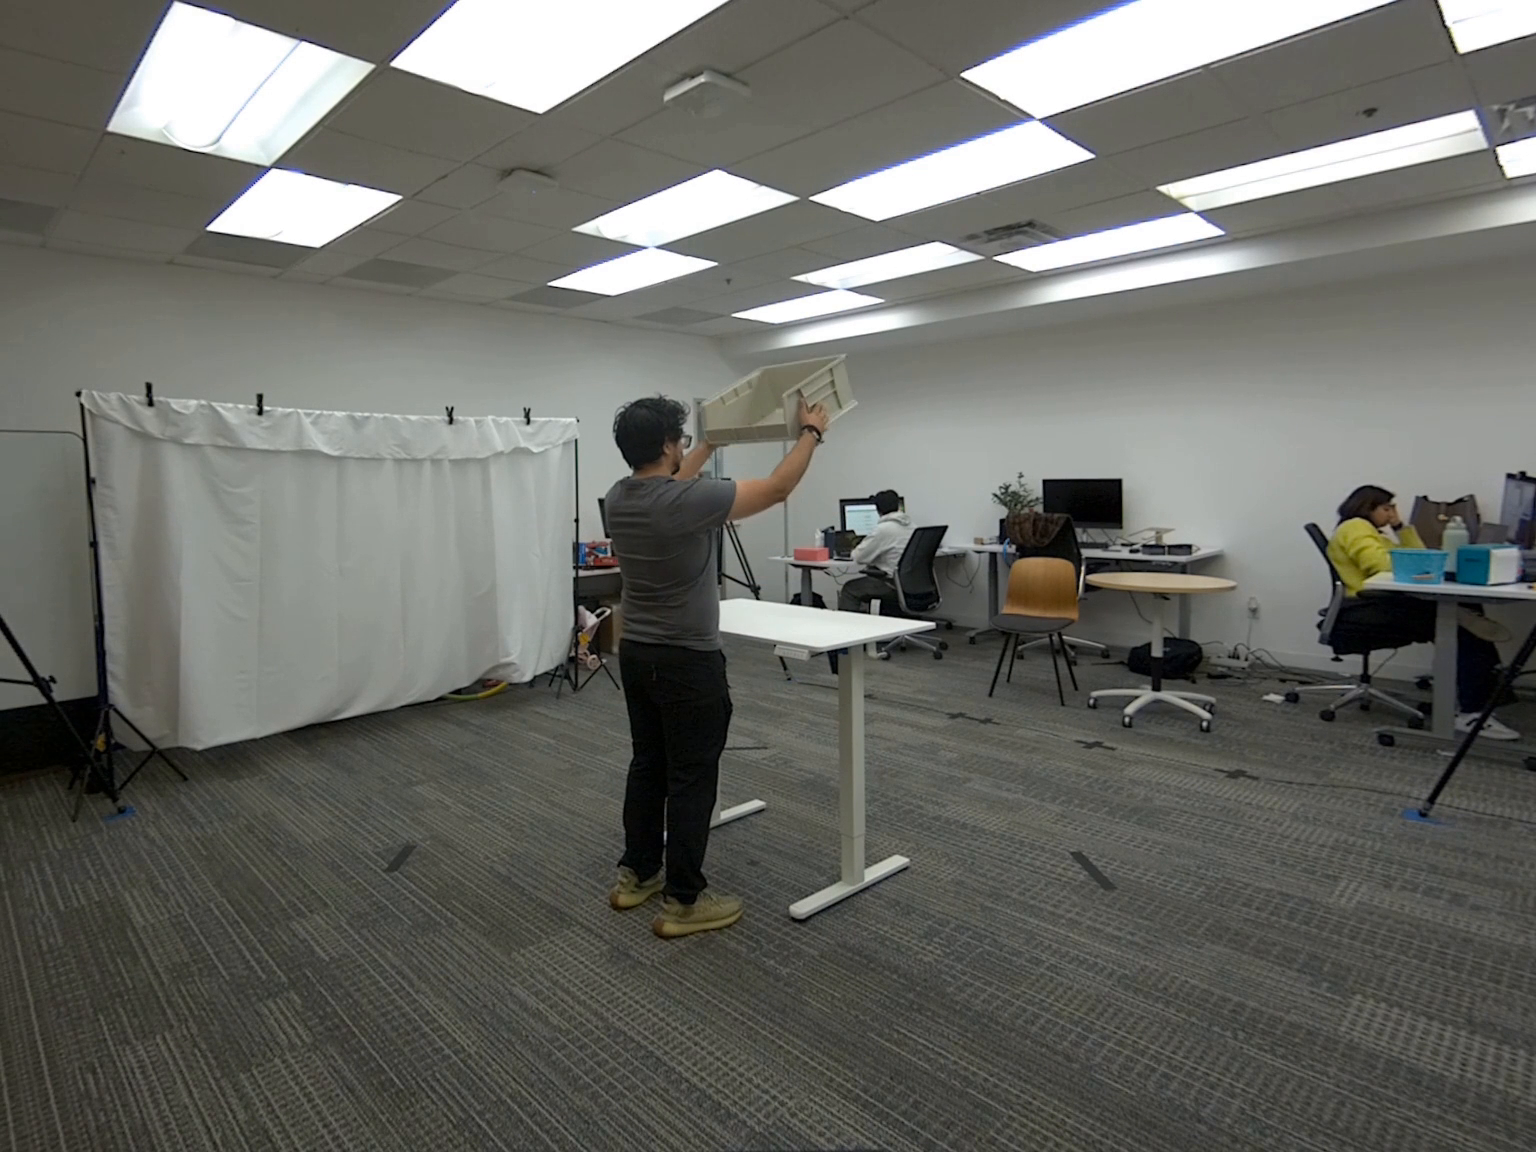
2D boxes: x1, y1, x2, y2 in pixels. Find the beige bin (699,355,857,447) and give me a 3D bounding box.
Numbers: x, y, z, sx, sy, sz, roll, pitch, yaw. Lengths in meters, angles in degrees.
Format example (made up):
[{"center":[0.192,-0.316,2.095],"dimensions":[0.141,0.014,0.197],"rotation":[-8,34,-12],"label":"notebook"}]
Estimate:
[{"center":[0.037,-0.598,3.007],"dimensions":[0.435,0.184,0.375],"rotation":[4,33,46],"label":"beige bin"}]
